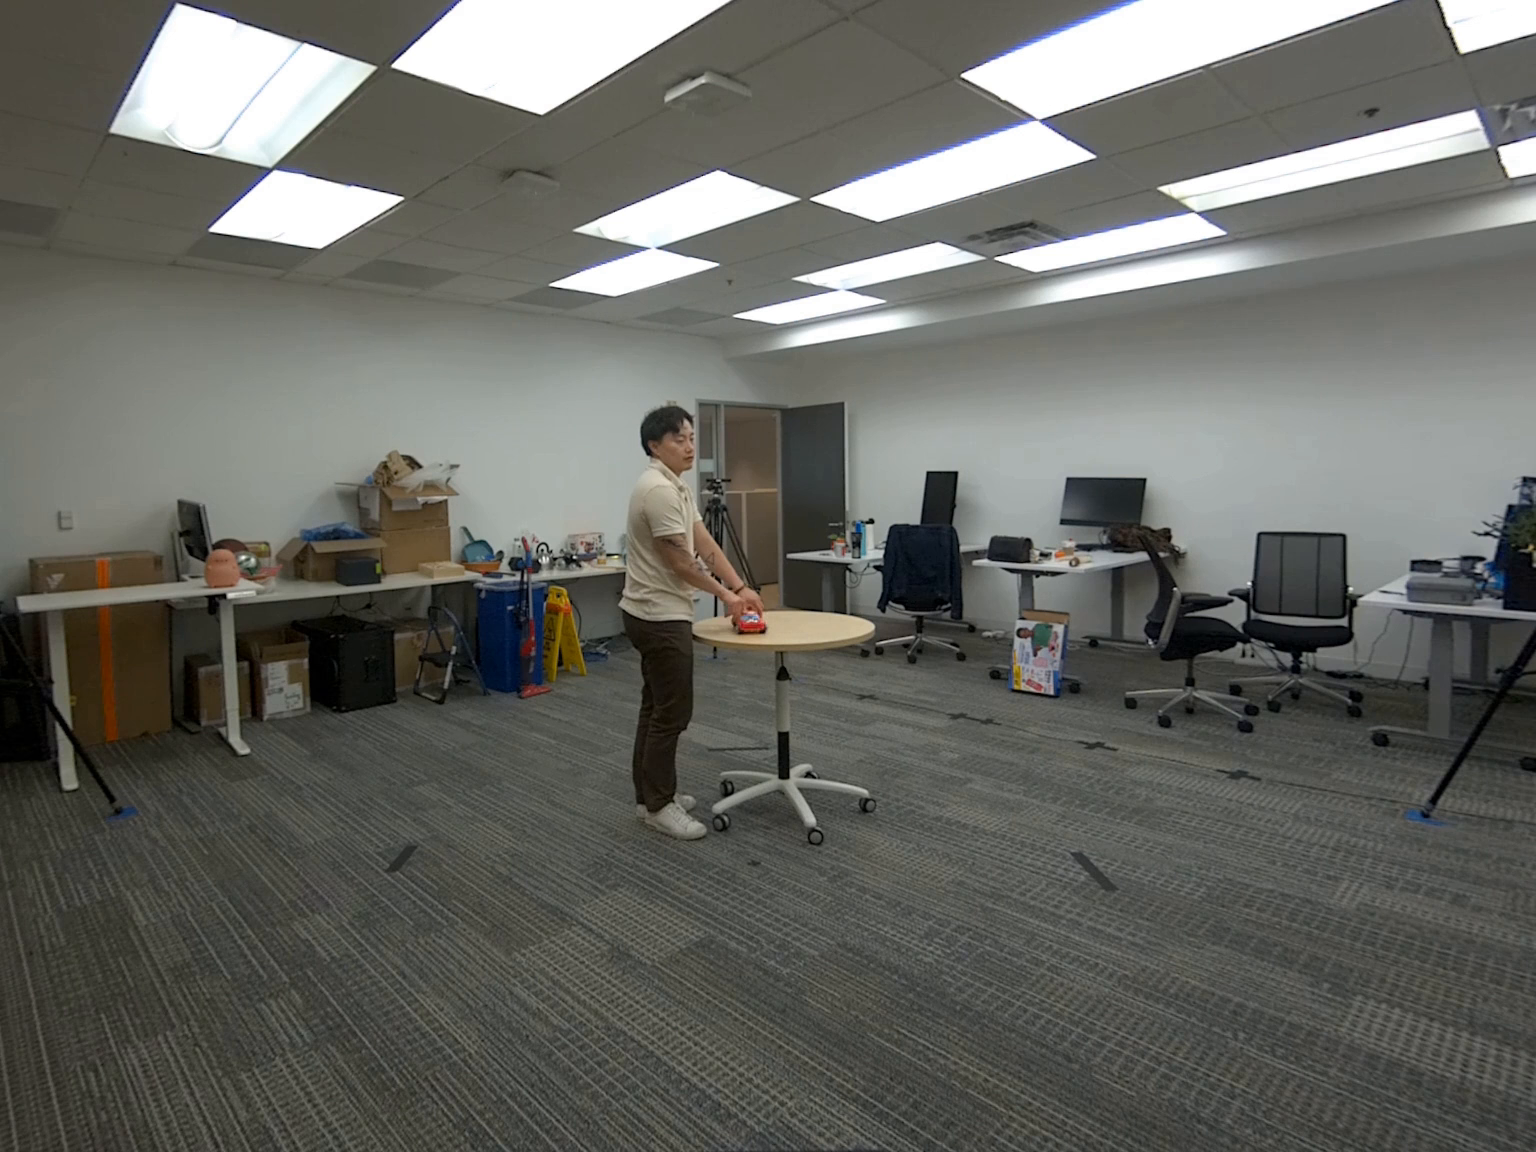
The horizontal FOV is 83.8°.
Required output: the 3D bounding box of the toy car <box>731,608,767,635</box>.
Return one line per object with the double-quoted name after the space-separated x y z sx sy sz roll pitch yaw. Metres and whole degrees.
-0.085 0.187 3.489 0.129 0.082 0.260 -1 17 -9 "toy car"
